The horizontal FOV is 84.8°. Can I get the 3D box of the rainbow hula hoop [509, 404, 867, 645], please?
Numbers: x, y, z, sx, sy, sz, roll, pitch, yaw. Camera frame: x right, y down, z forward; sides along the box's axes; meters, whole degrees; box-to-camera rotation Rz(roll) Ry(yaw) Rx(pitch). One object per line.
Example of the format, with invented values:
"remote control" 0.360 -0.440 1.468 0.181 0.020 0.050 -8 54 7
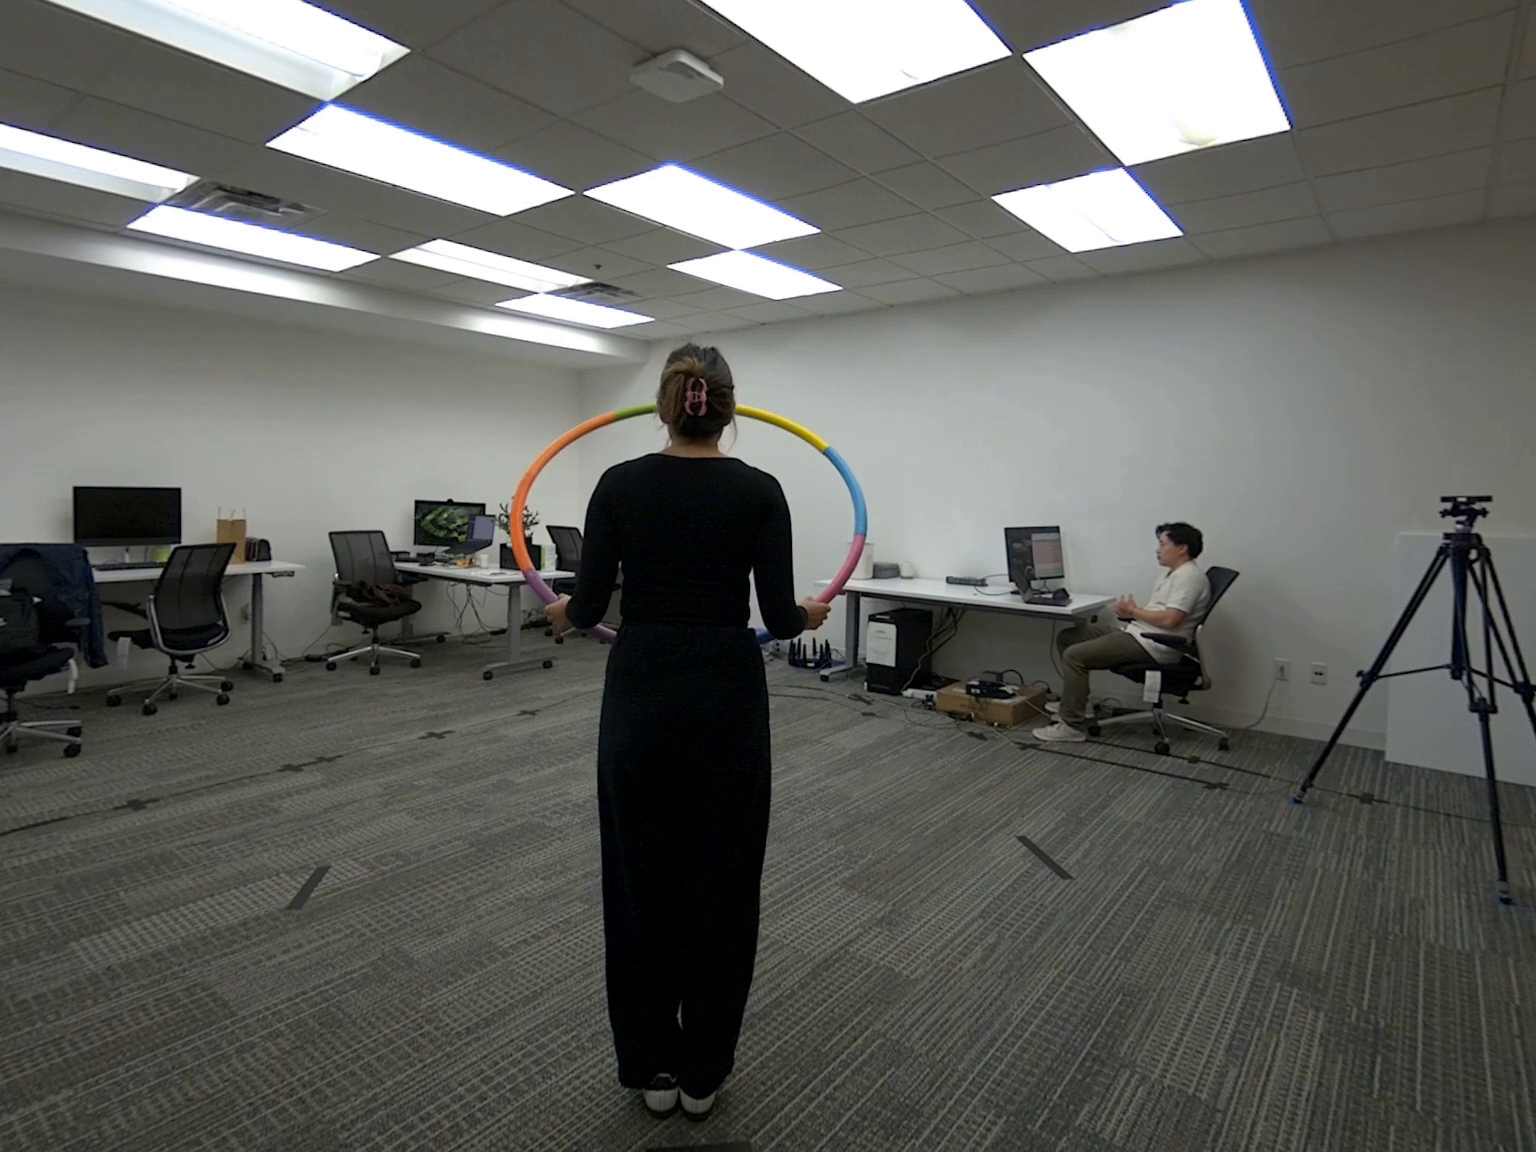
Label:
"rainbow hula hoop" -0.235 -0.196 2.377 0.978 0.034 1.008 -1 47 -1
